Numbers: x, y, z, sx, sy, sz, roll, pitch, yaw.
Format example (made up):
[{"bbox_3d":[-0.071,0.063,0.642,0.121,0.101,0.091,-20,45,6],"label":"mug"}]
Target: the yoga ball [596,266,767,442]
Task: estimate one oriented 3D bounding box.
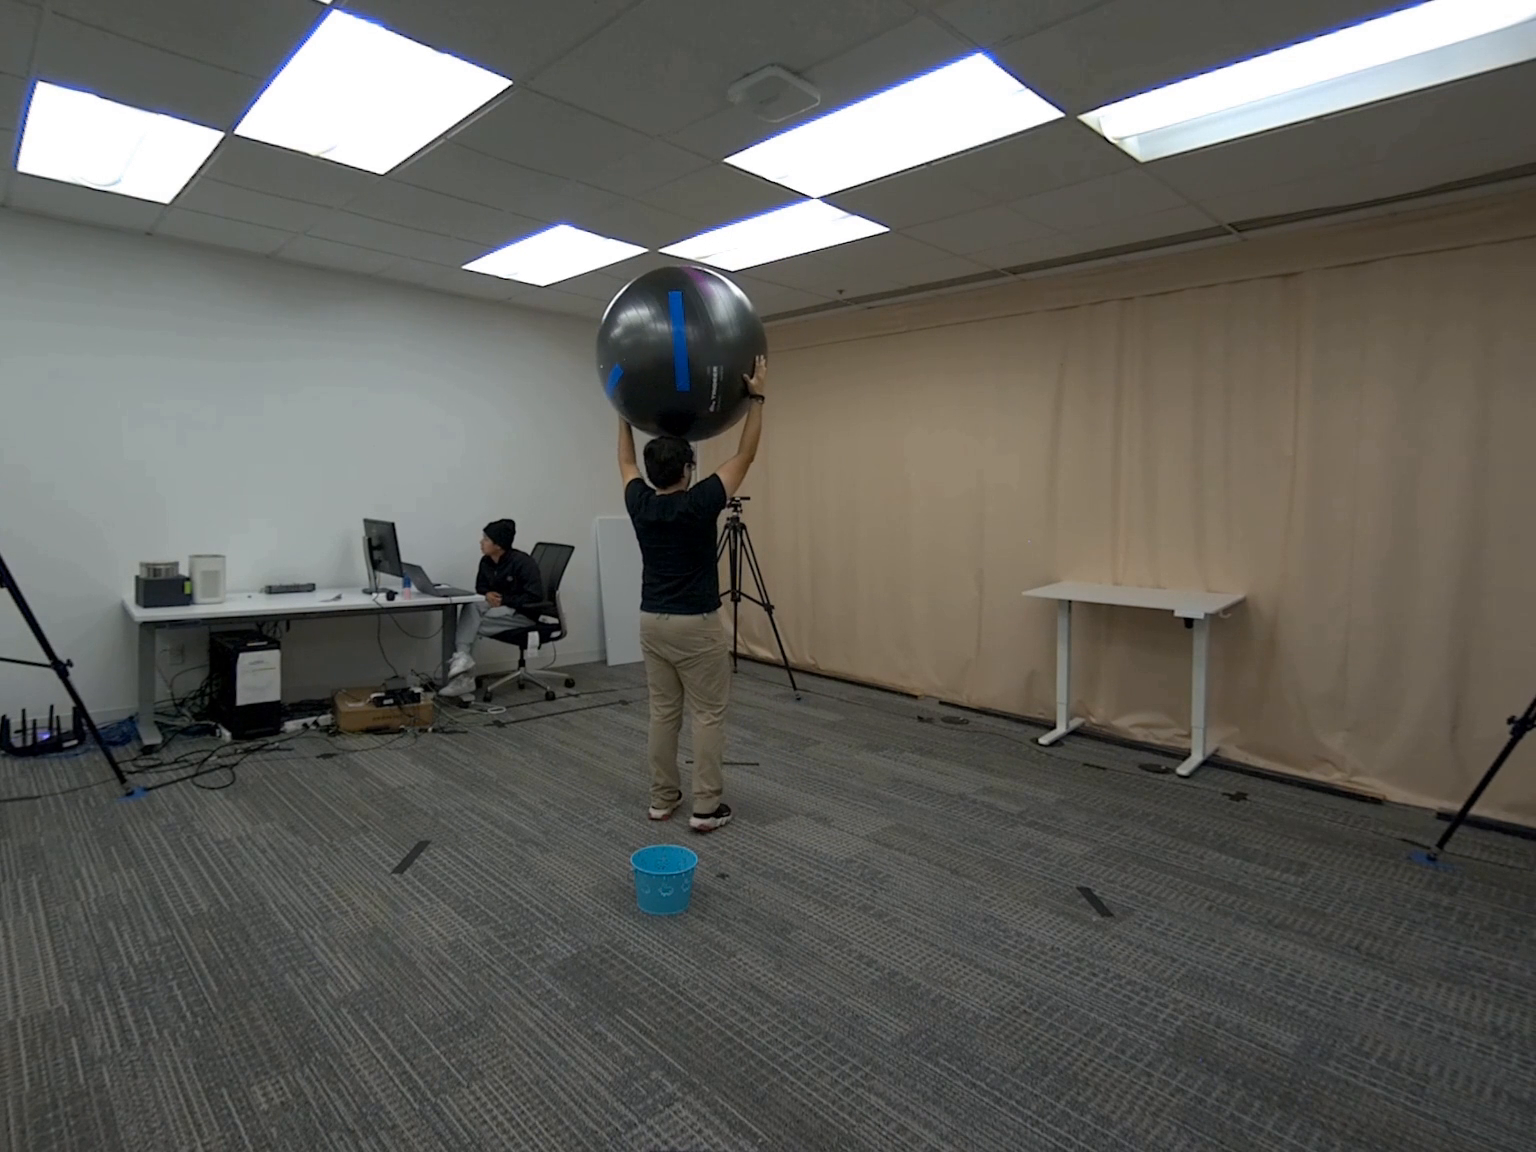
[{"bbox_3d":[-0.380,-0.965,3.714,0.757,0.756,0.761,1,4,-1],"label":"yoga ball"}]
